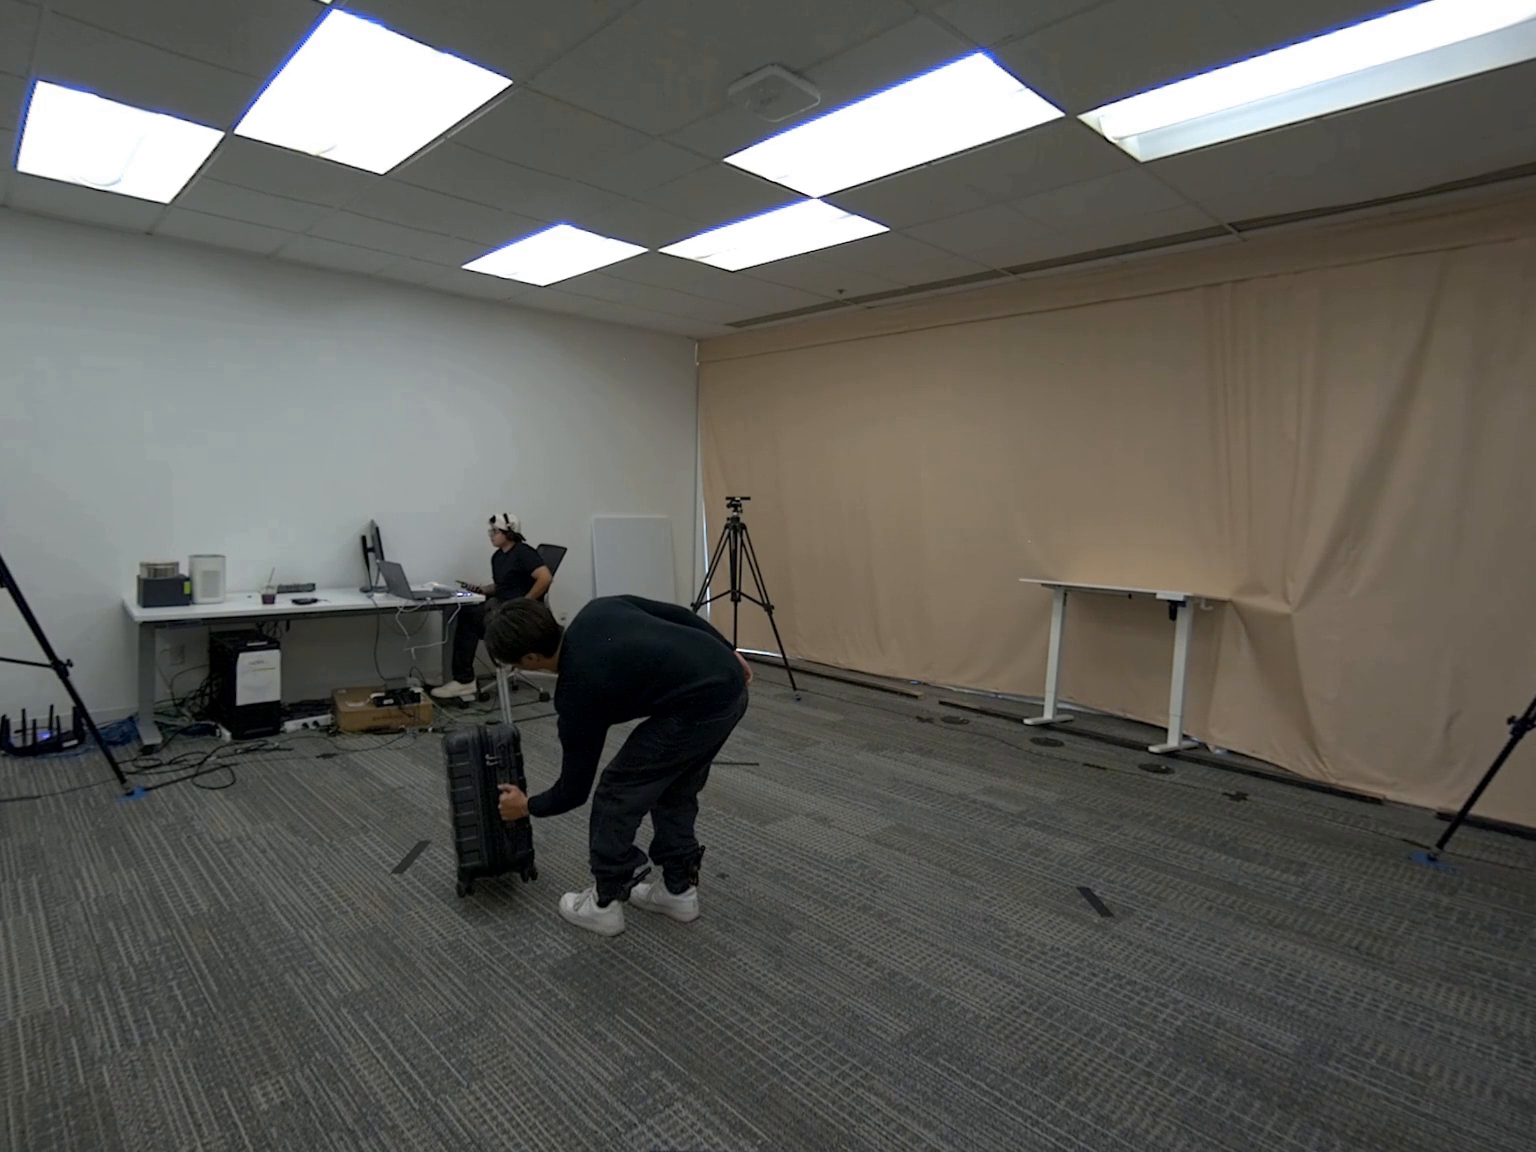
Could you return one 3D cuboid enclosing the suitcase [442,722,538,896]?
[{"bbox_3d":[-1.032,0.598,2.997,0.253,0.986,0.387,-8,-9,-24],"label":"suitcase"}]
